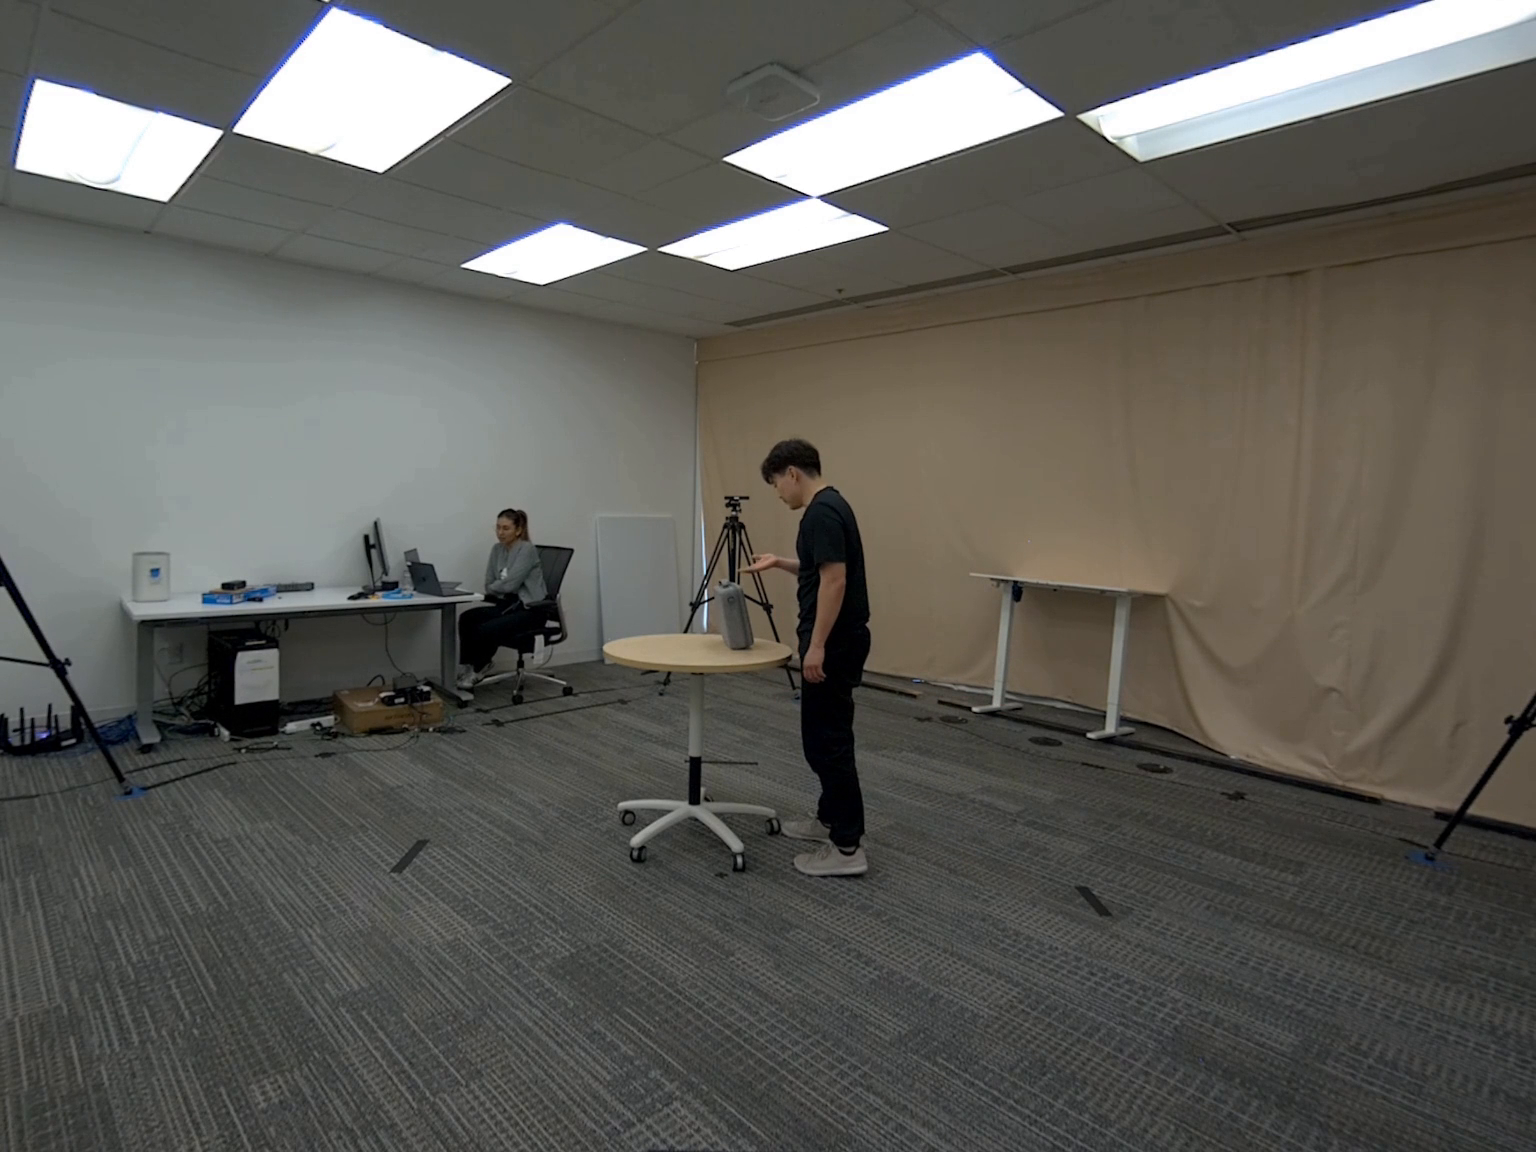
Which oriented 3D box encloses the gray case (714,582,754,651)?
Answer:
[{"bbox_3d":[-0.150,0.158,3.493,0.104,0.260,0.259,-10,4,-9],"label":"gray case"}]
